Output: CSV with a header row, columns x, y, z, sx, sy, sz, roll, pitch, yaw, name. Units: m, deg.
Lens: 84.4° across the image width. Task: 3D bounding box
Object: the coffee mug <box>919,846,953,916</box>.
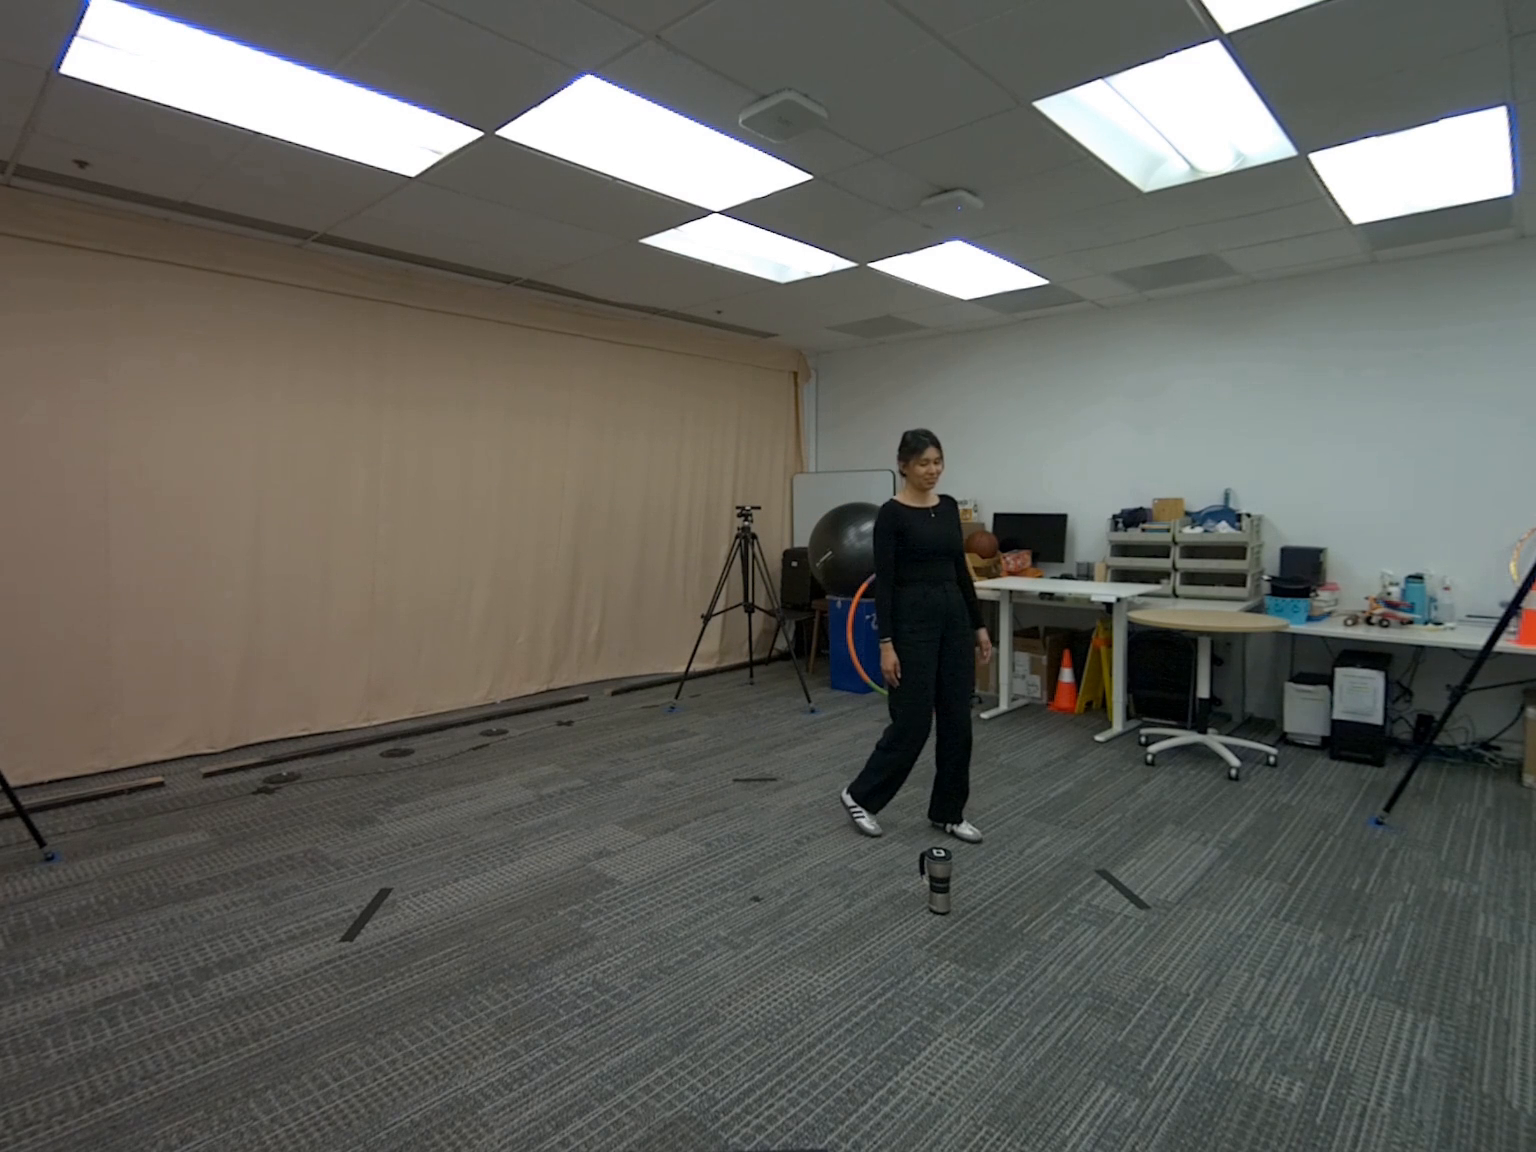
x,y,z,sx,sy,sz,roll,pitch,yaw,name
0.592,1.050,2.907,0.086,0.202,0.124,-2,5,-15,coffee mug
